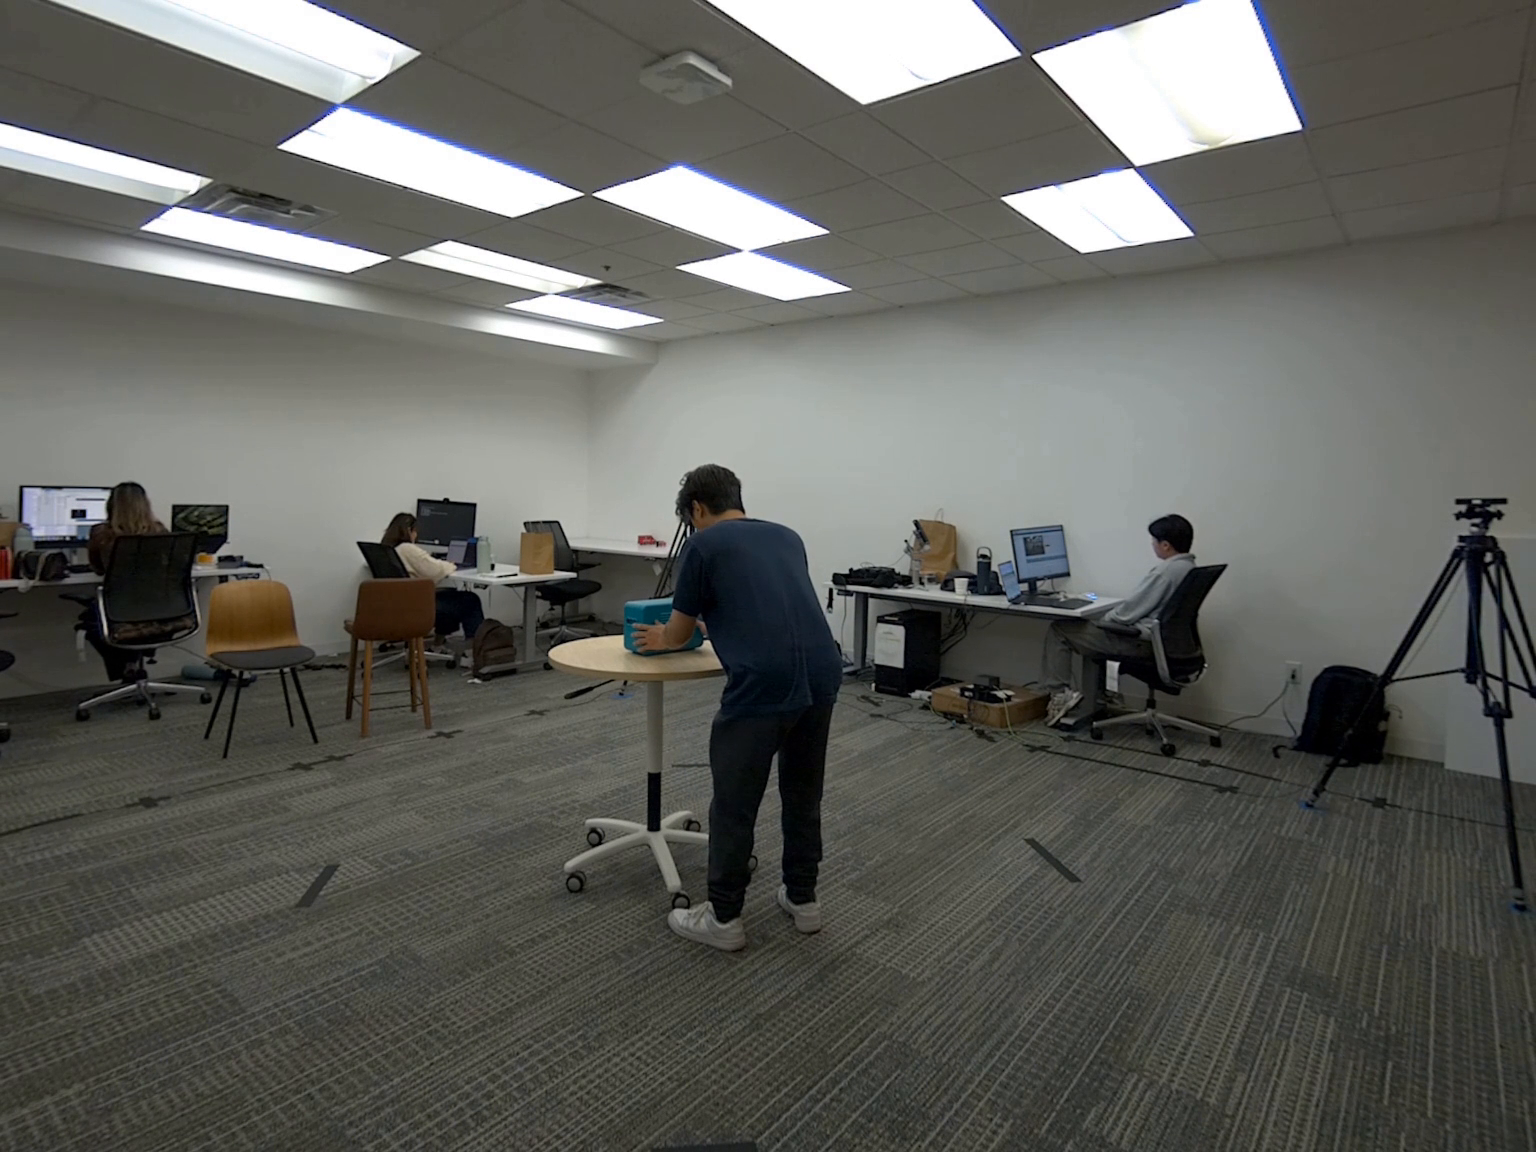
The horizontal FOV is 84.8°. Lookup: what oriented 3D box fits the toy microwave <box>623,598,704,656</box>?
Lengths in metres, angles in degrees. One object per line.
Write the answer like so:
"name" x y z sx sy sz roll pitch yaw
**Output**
"toy microwave" -0.392 0.177 3.098 0.277 0.183 0.157 -3 5 -41
